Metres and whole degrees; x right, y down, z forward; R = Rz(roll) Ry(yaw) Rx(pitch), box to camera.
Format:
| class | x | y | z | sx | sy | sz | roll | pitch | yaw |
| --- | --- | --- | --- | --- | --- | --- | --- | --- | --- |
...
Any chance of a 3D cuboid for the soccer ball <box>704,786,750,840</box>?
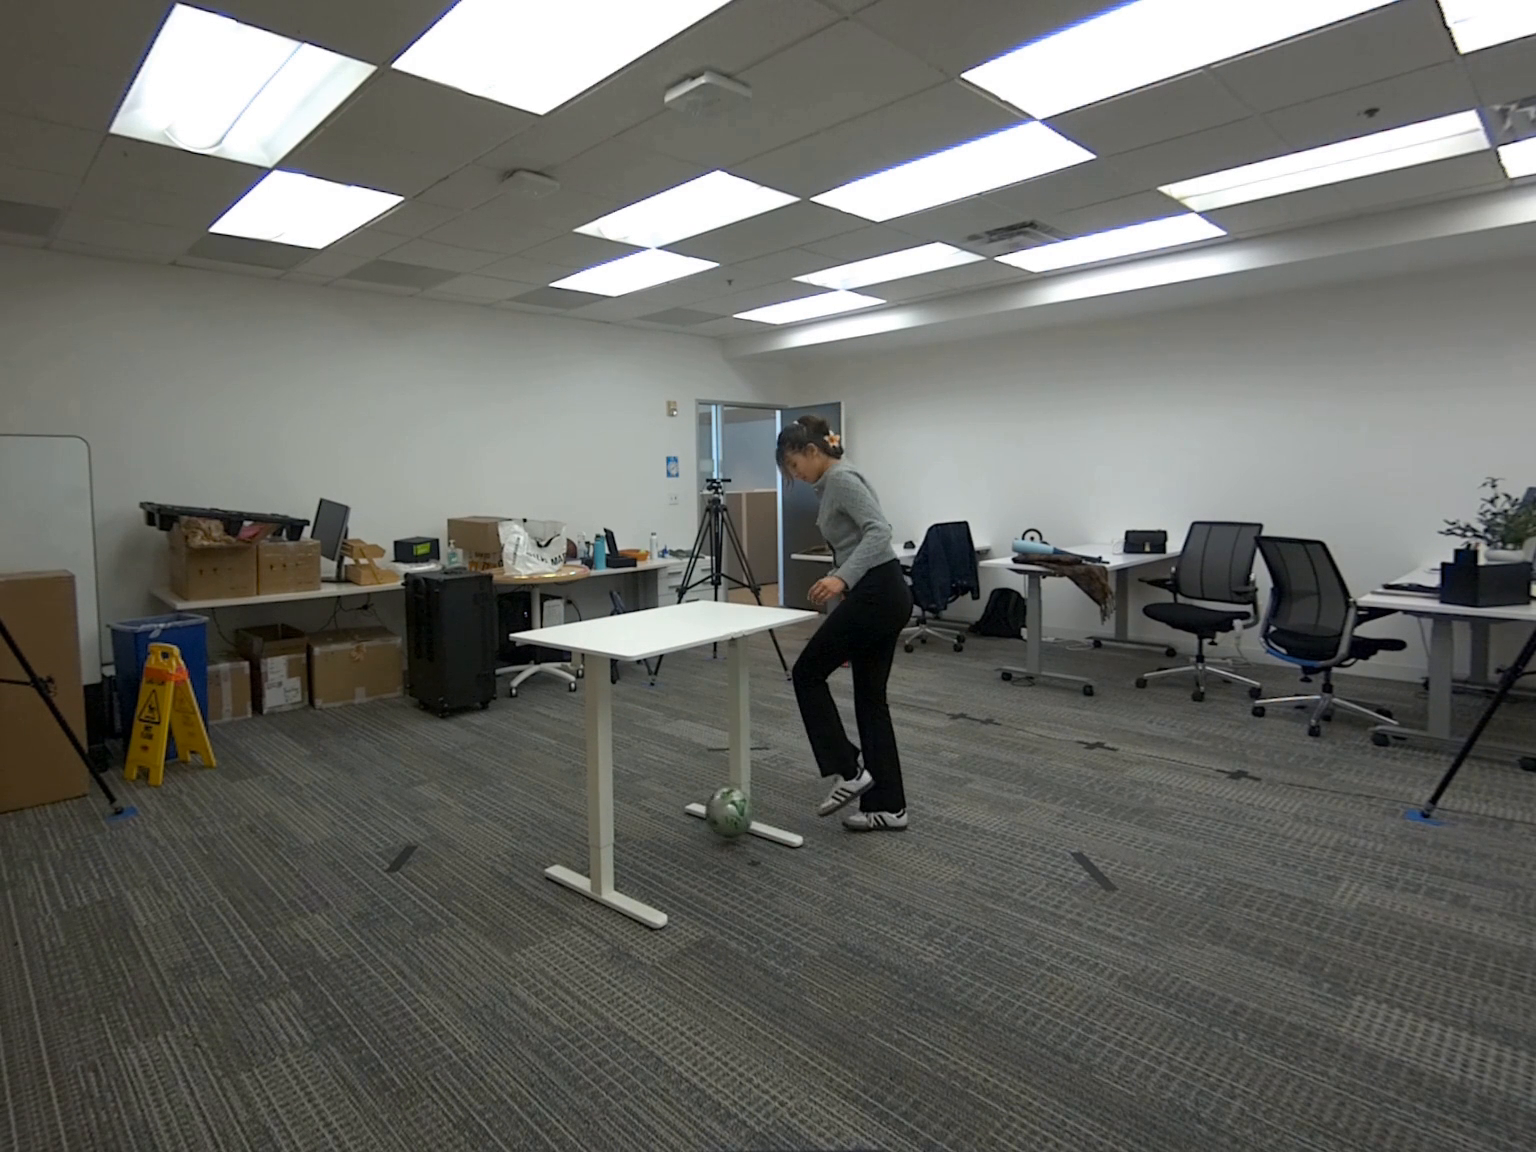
| class | x | y | z | sx | sy | sz | roll | pitch | yaw |
| --- | --- | --- | --- | --- | --- | --- | --- | --- | --- |
| soccer ball | -0.117 | 0.915 | 3.279 | 0.187 | 0.187 | 0.188 | -1 | 5 | -2 |
